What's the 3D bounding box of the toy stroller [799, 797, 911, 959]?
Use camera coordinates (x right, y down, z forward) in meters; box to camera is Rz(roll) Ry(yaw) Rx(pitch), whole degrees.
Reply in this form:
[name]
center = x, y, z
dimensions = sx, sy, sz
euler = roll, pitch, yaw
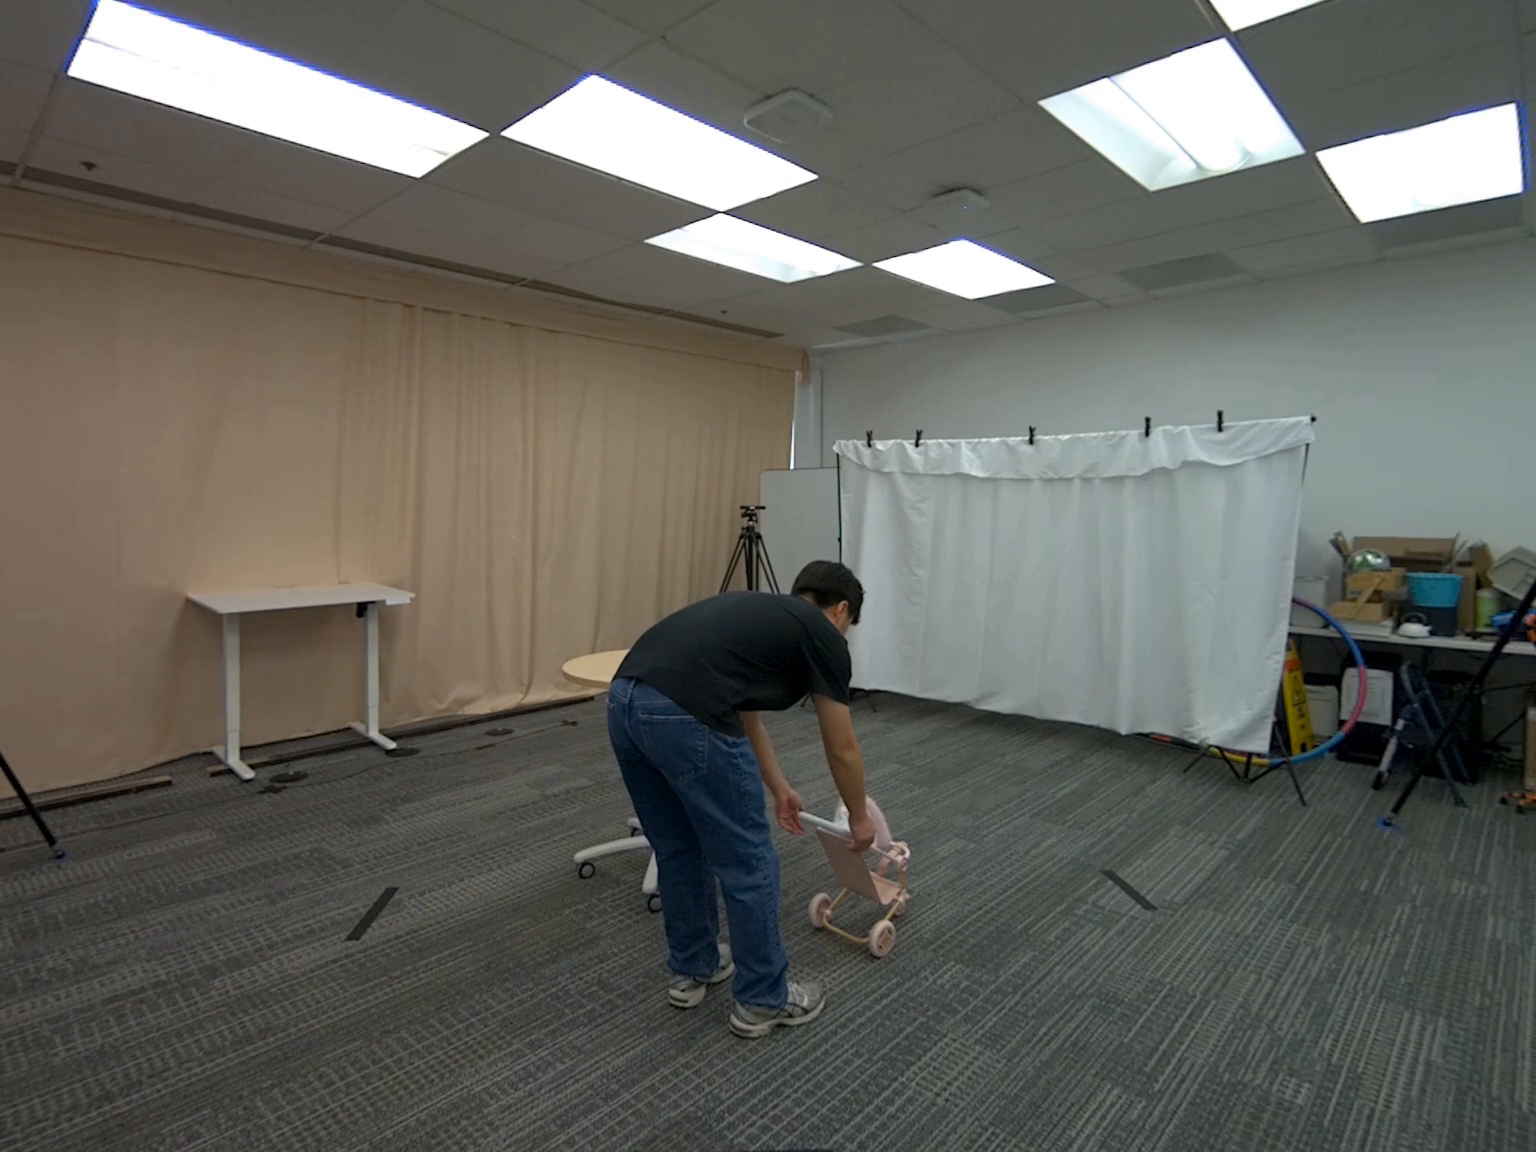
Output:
[toy stroller]
center = 0.314, 0.939, 2.722
dimensions = 0.334, 0.529, 0.291
euler = -22, 16, -37
